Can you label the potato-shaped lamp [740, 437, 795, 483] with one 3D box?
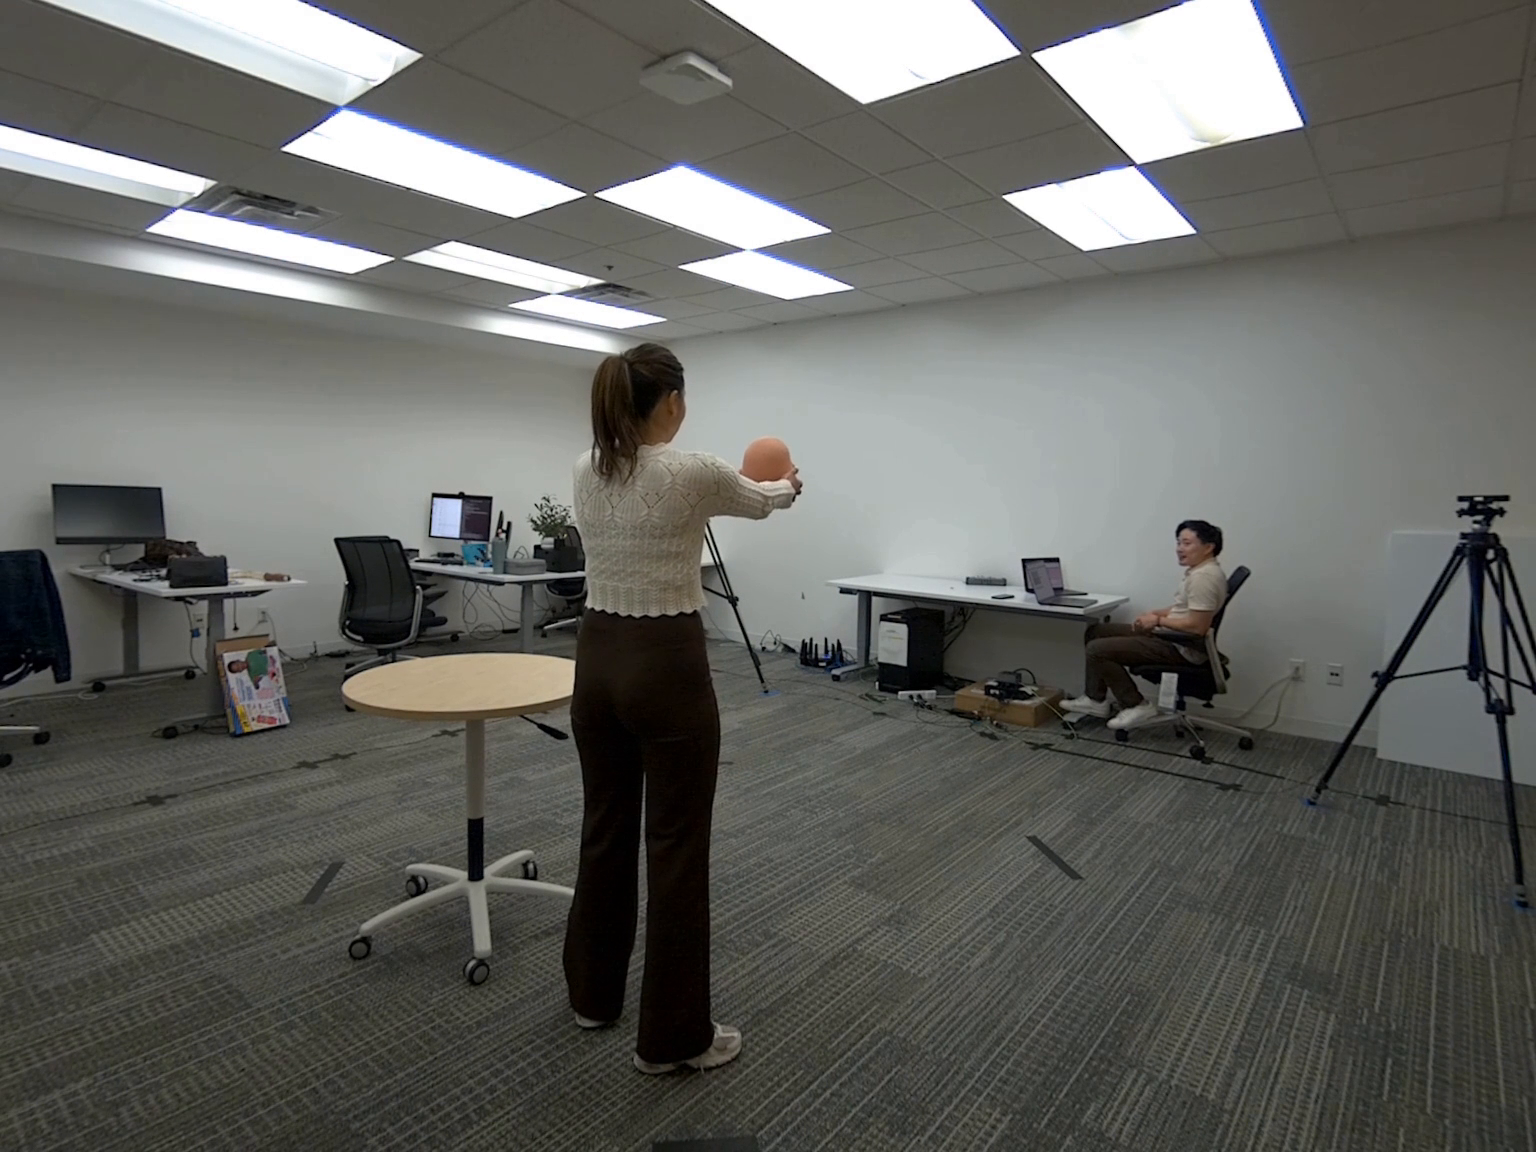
[{"bbox_3d":[-0.006,-0.327,2.603,0.170,0.197,0.167,7,10,39],"label":"potato-shaped lamp"}]
